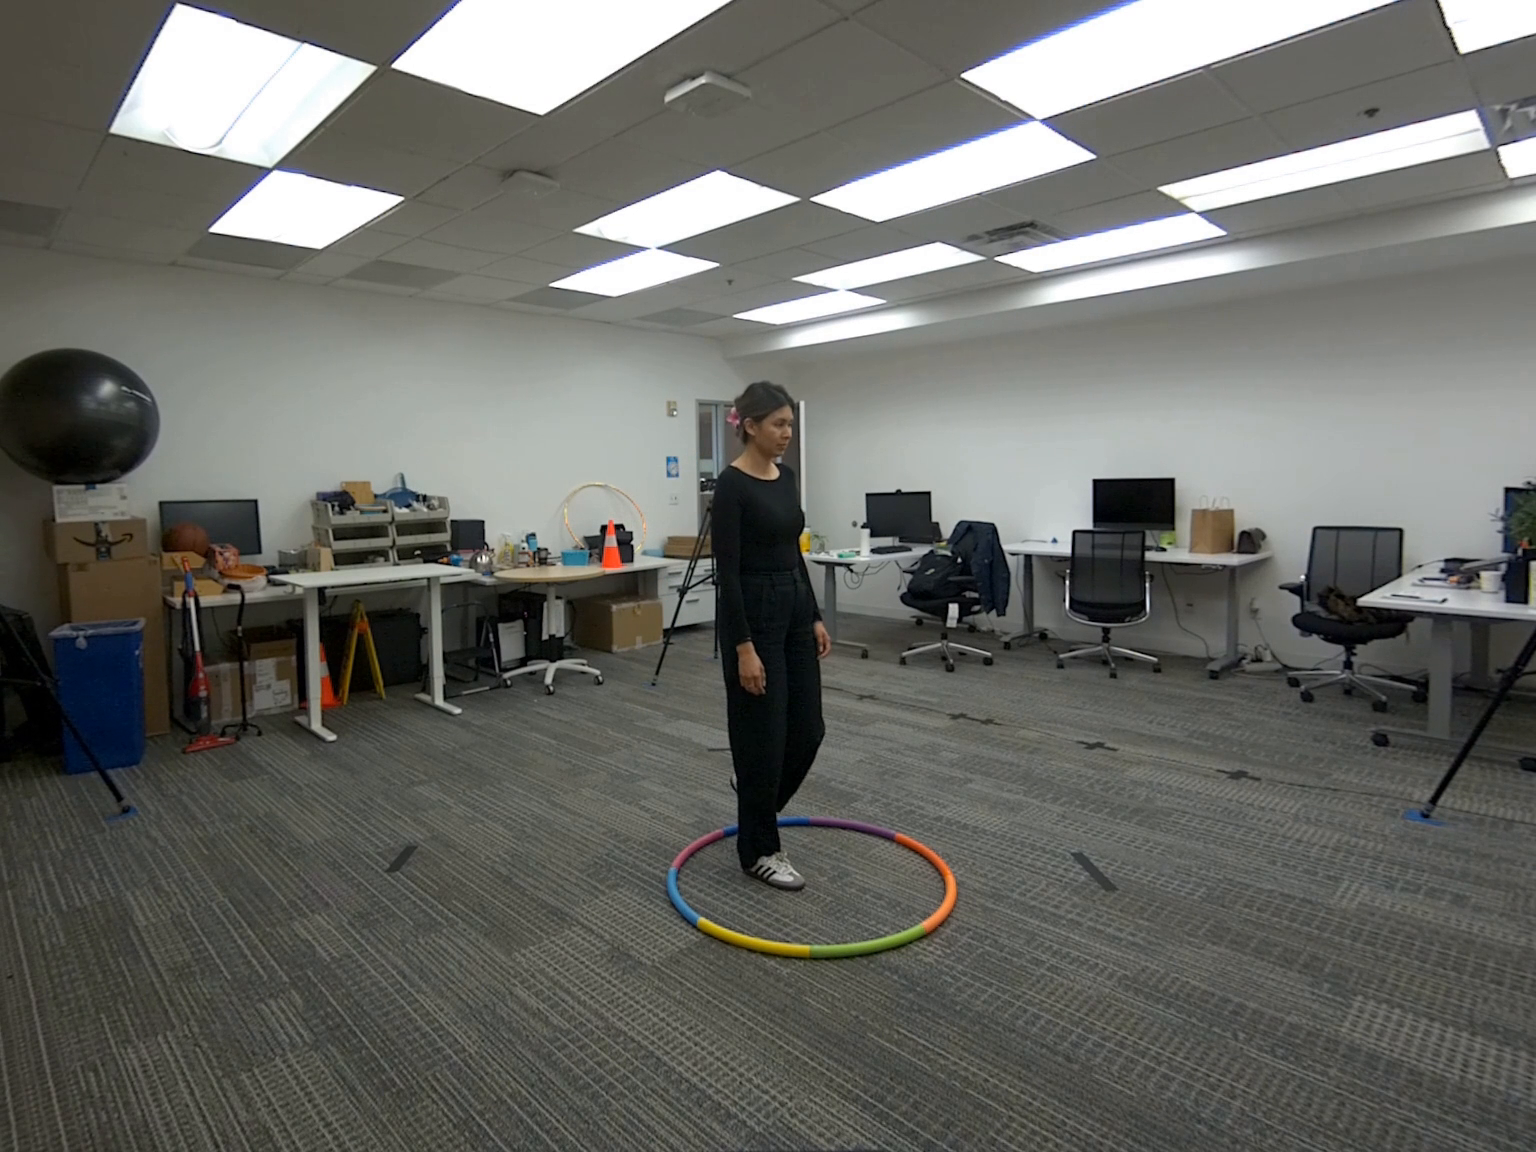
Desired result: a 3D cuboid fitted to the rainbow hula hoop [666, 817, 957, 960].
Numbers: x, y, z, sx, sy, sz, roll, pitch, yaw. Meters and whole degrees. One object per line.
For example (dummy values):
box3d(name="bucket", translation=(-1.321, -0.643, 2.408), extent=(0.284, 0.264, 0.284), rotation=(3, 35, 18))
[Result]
box3d(name="rainbow hula hoop", translation=(0.142, 1.027, 2.965), extent=(0.978, 0.035, 0.984), rotation=(-2, 7, -2))
